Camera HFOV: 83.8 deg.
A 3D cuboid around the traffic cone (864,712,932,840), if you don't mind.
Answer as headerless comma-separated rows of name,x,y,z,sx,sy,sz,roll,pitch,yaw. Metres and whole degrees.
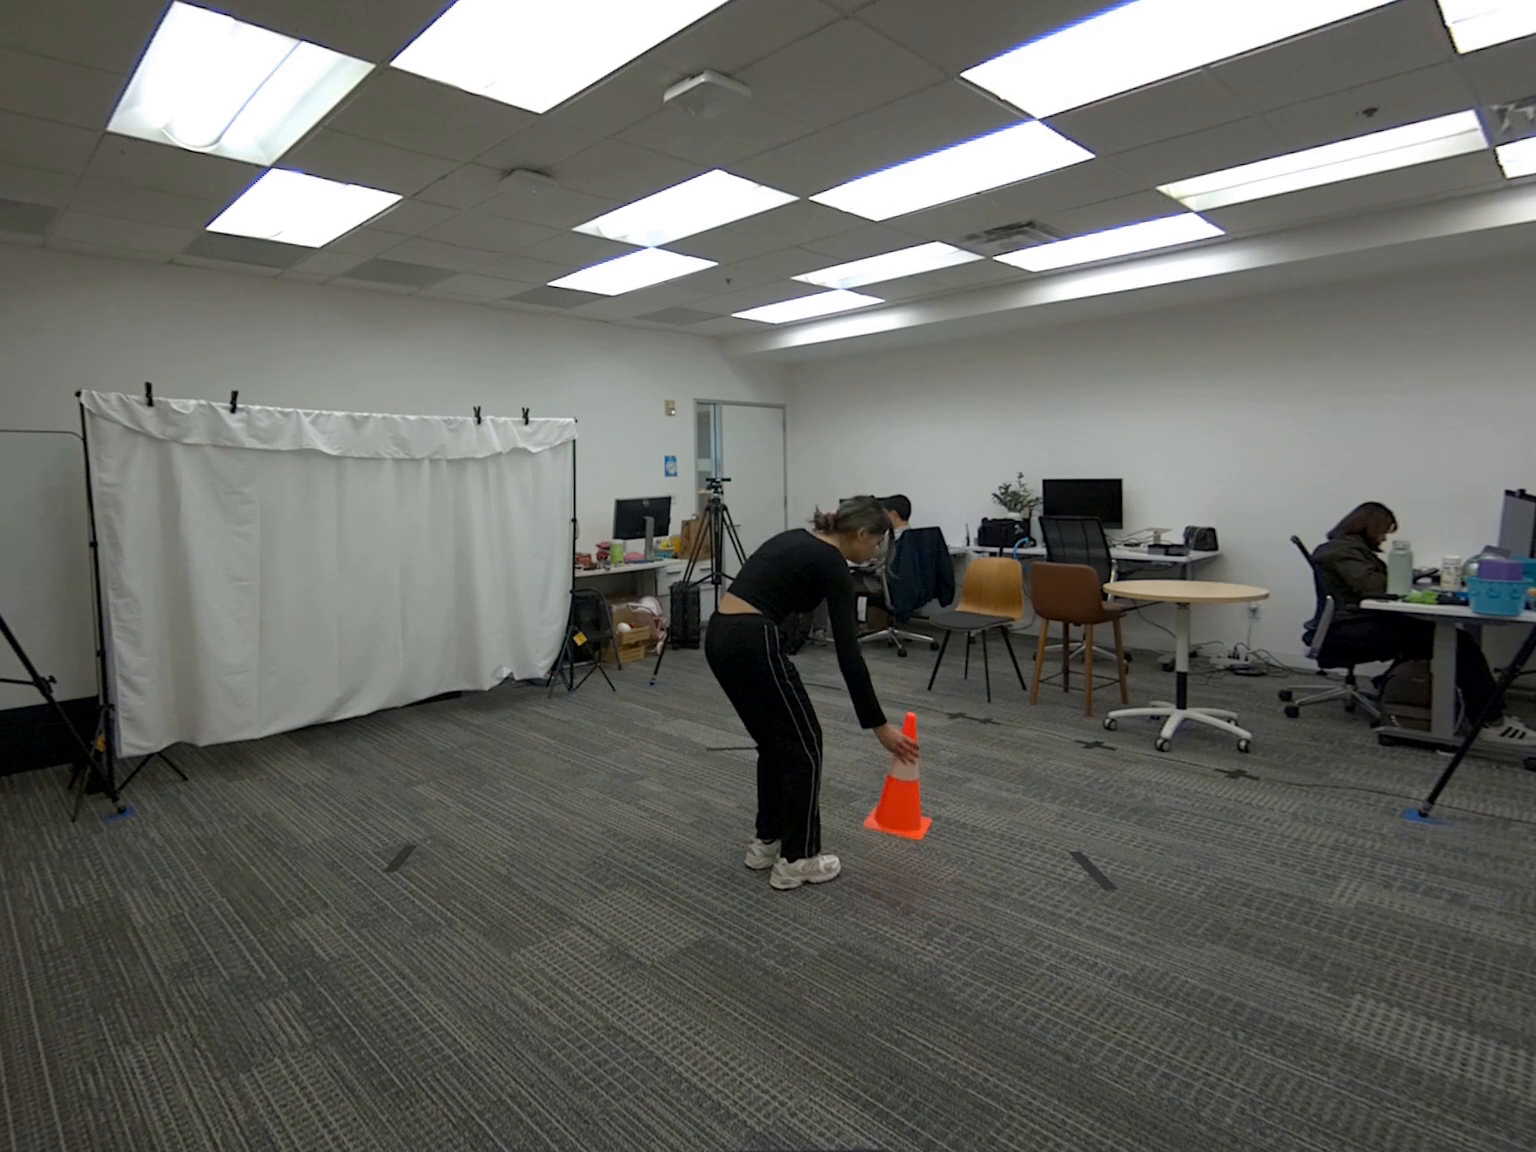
traffic cone,0.453,0.647,2.886,0.209,0.382,0.200,7,7,32
